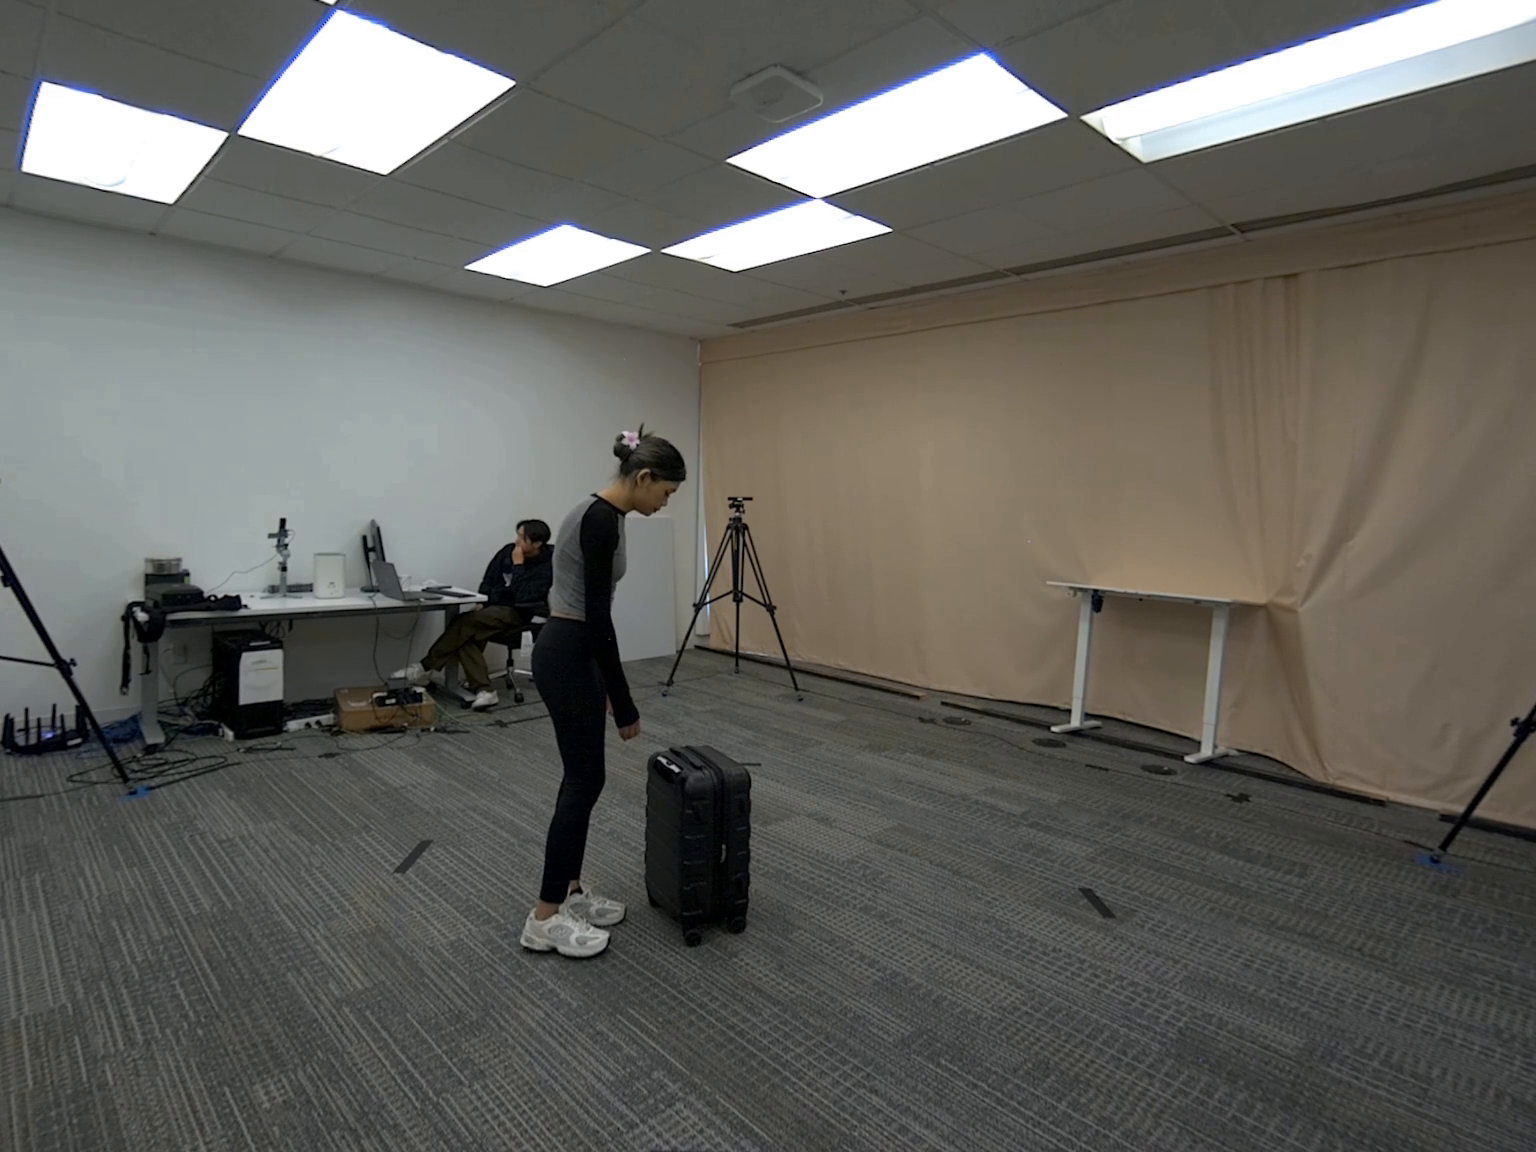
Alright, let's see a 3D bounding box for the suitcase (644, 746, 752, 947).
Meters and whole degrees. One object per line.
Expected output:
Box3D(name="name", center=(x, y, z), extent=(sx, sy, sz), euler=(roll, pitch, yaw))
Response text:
Box3D(name="suitcase", center=(-0.245, 0.855, 2.790), extent=(0.243, 0.548, 0.383), euler=(0, 3, -28))
